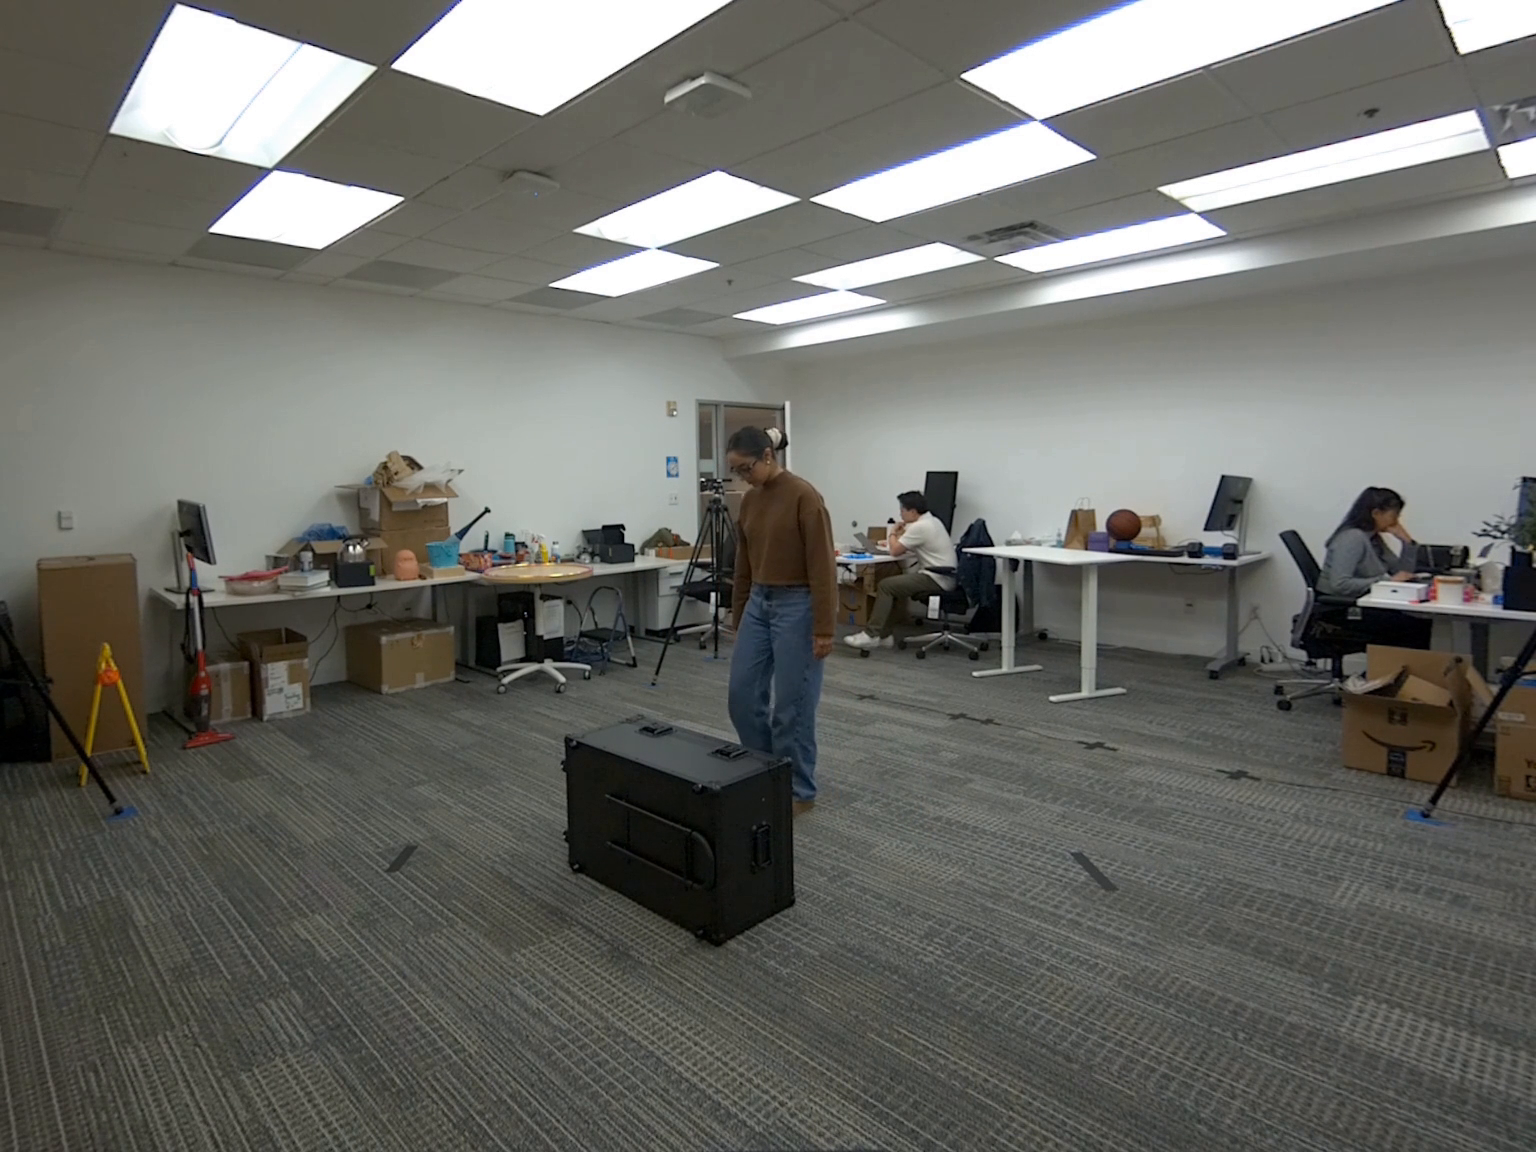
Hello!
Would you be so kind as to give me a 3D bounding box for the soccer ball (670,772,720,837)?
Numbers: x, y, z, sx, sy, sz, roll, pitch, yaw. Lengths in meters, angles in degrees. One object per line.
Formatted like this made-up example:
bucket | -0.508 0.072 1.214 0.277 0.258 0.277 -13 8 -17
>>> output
soccer ball | -0.294 0.912 3.445 0.187 0.187 0.188 -1 5 -2
